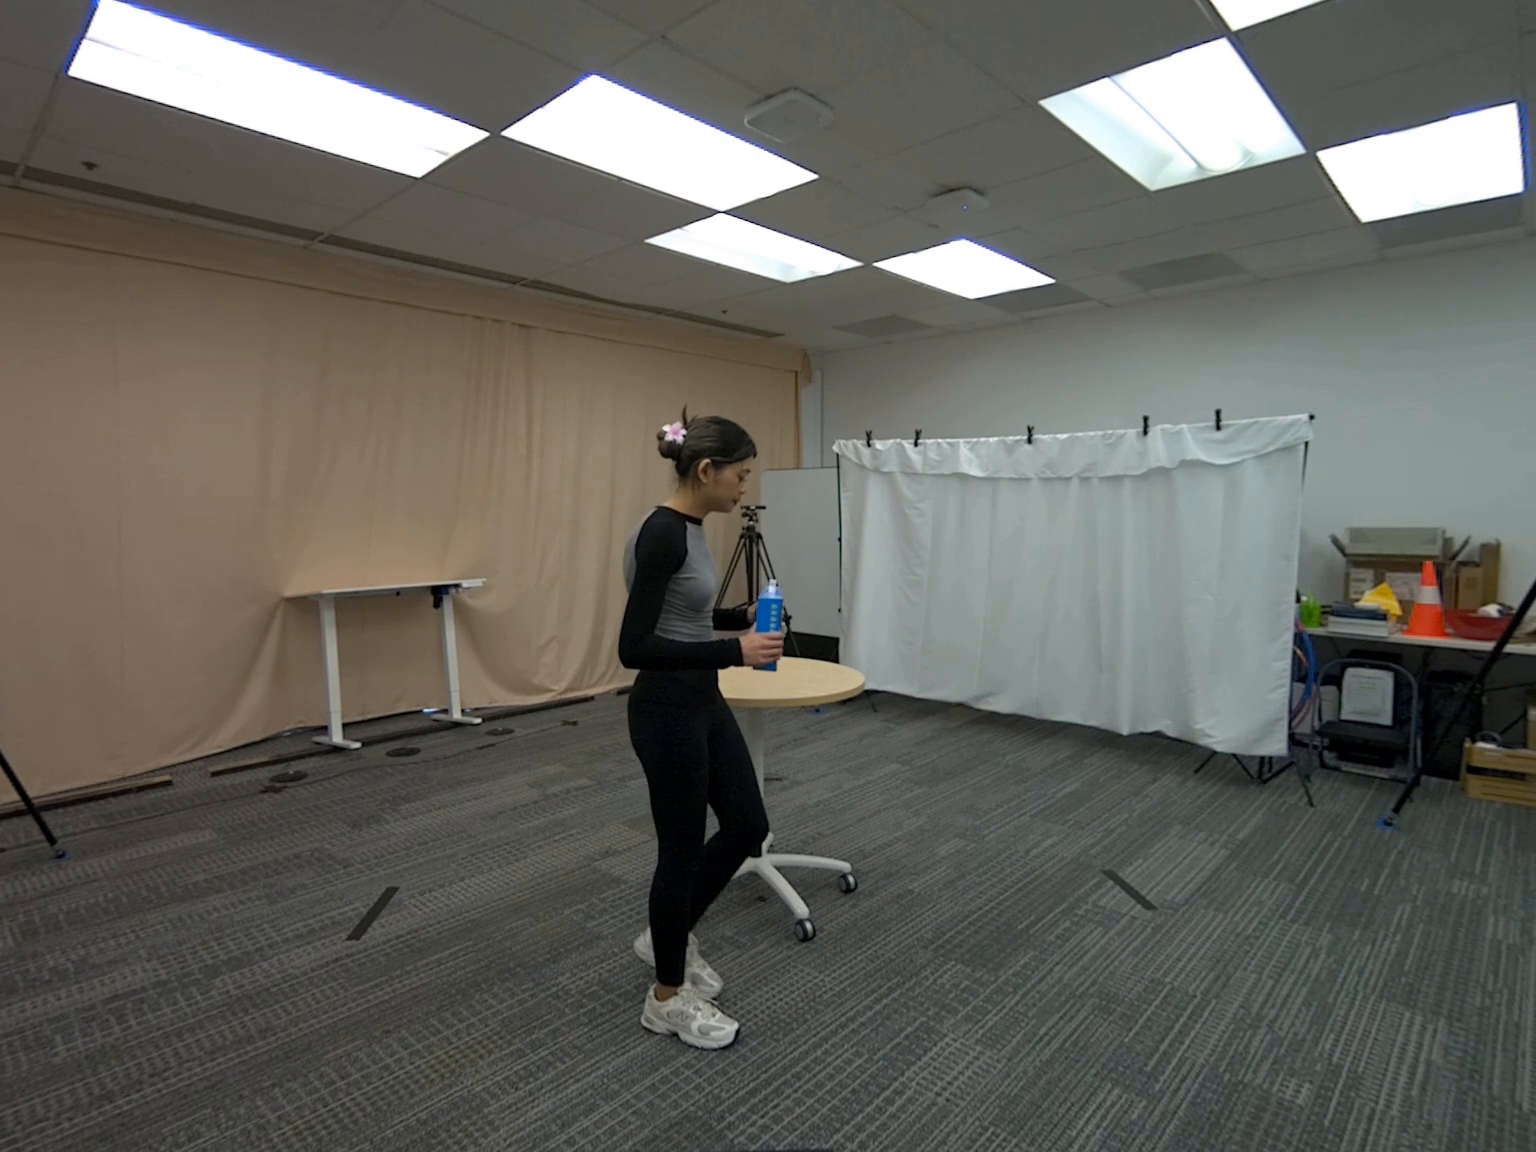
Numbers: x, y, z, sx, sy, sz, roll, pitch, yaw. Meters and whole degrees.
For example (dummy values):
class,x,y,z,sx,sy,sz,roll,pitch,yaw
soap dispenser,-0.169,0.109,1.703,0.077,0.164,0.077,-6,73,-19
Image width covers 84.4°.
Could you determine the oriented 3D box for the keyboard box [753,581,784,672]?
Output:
class,x,y,z,sx,sy,sz,roll,pitch,yaw
keyboard box,0.011,0.131,2.175,0.059,0.176,0.435,4,0,1
